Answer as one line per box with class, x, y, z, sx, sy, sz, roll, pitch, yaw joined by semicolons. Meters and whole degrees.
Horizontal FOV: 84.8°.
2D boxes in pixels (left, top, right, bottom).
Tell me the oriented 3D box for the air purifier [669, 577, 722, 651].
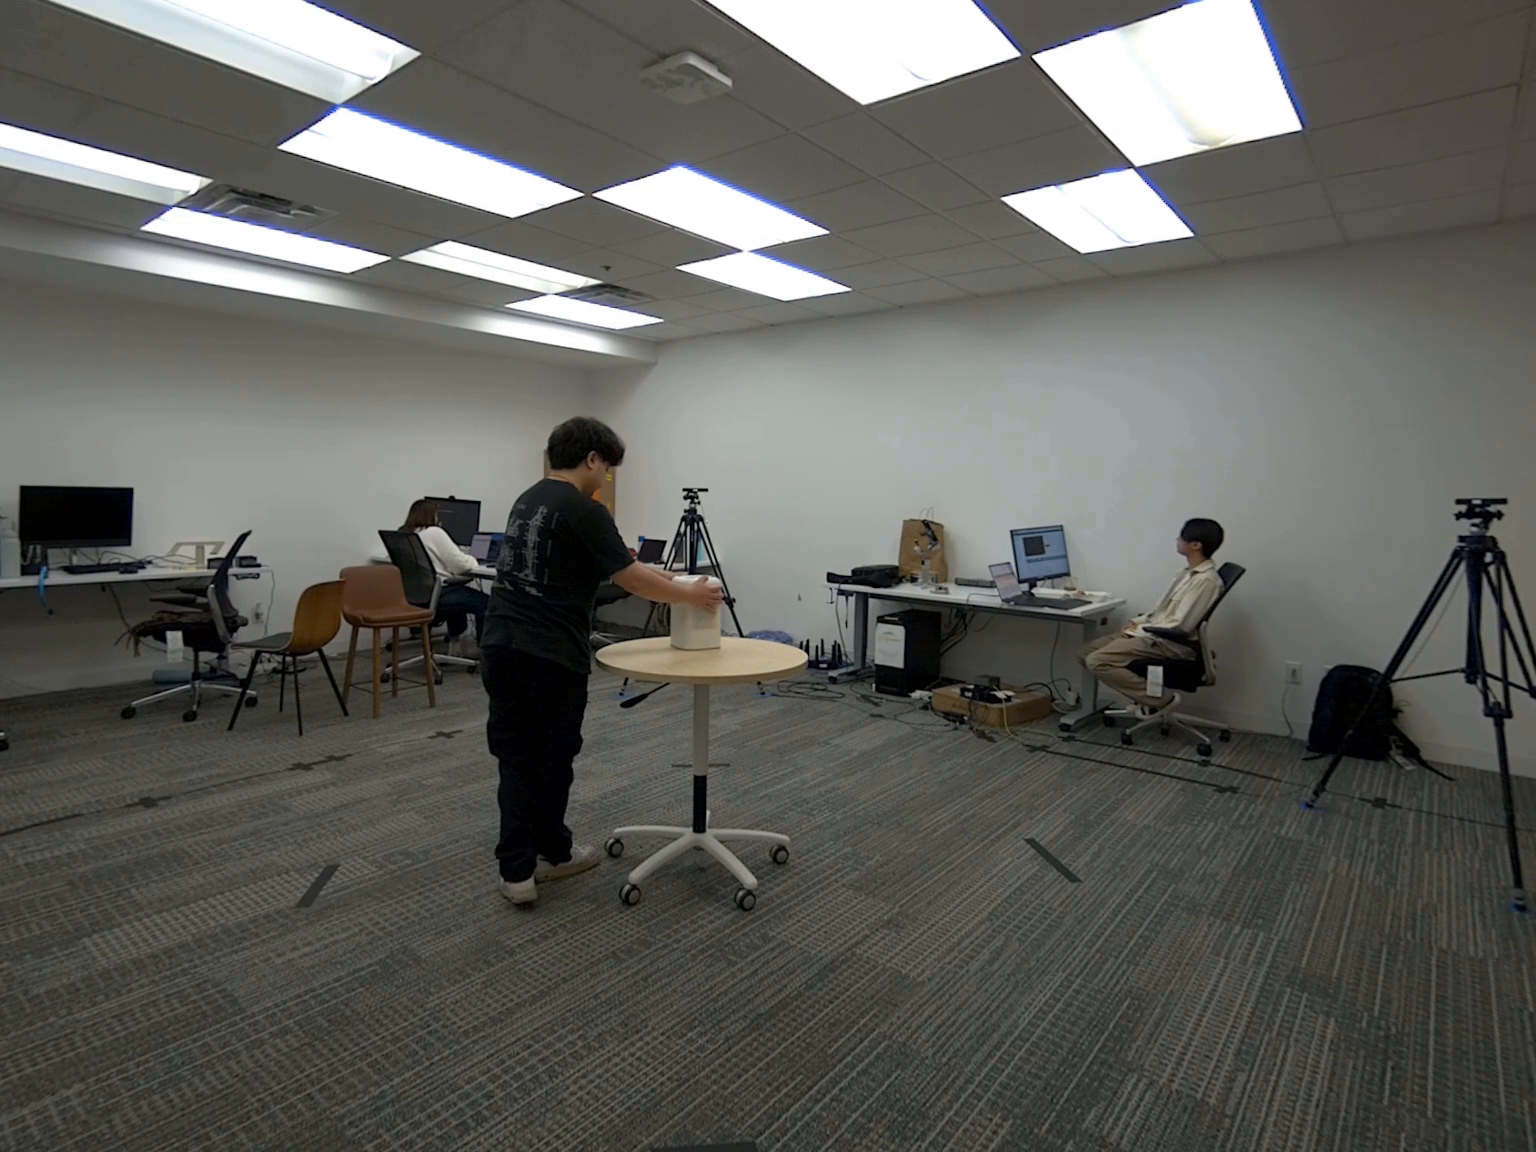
air purifier;-0.285;0.133;3.227;0.167;0.264;0.176;-1;4;-28
